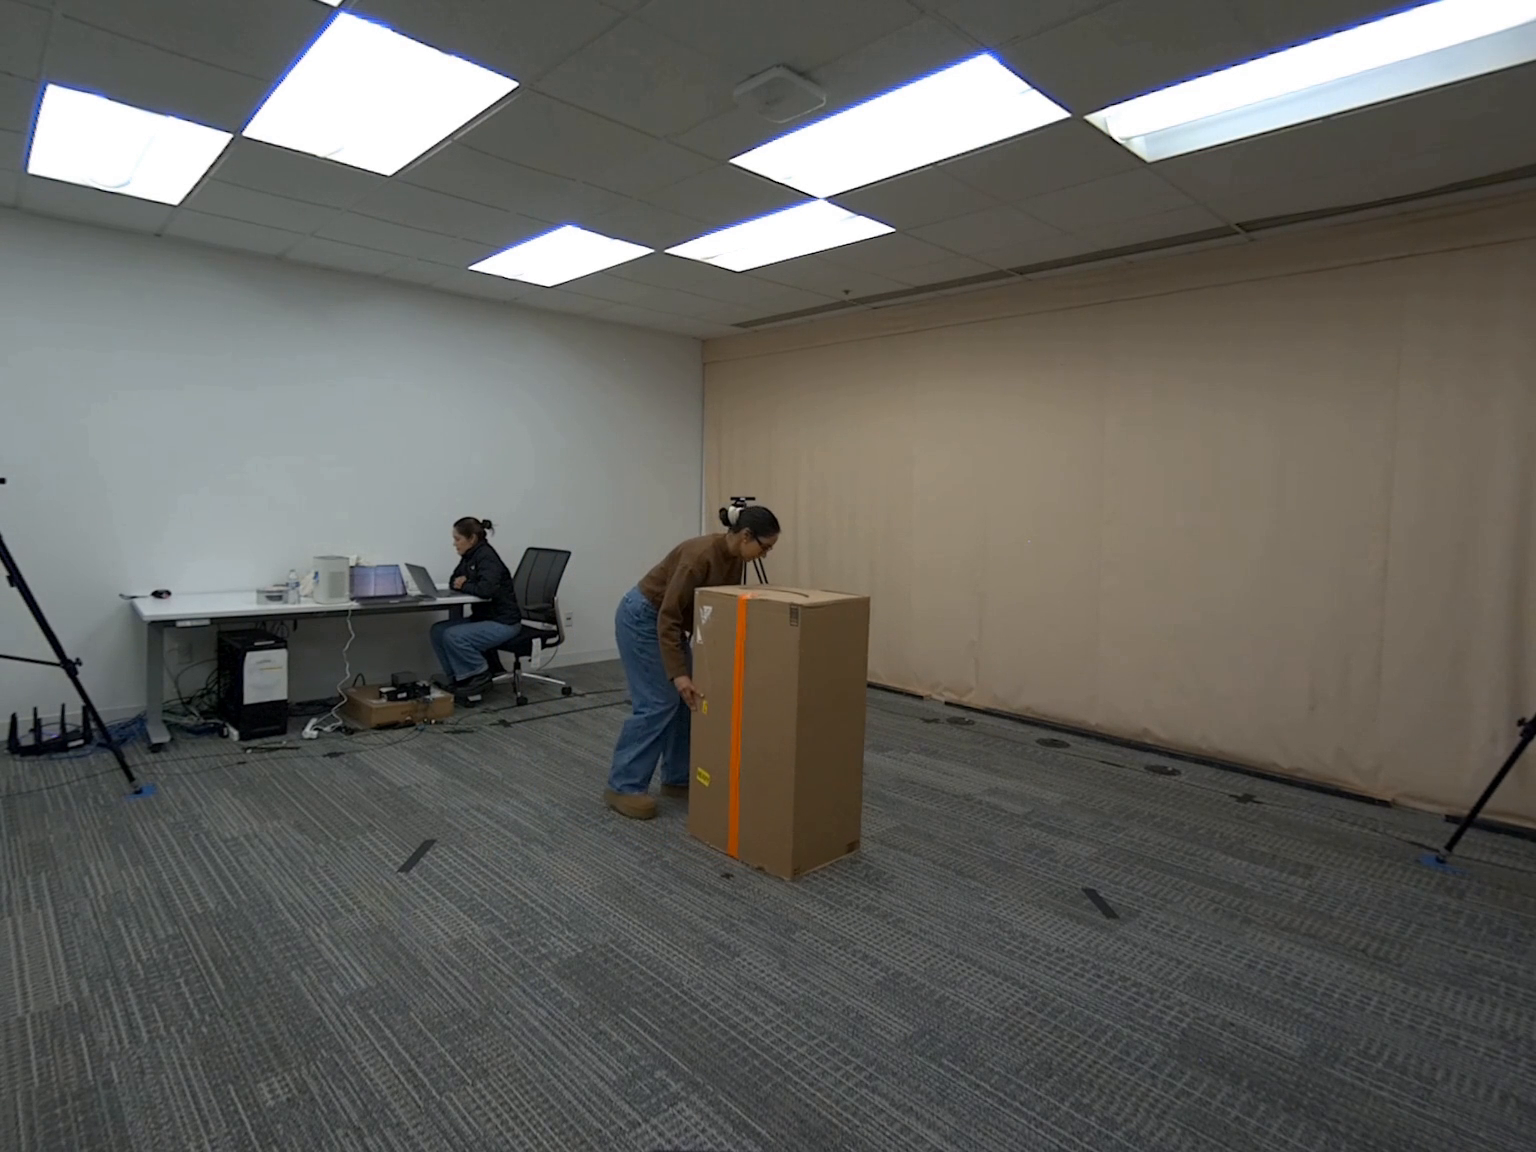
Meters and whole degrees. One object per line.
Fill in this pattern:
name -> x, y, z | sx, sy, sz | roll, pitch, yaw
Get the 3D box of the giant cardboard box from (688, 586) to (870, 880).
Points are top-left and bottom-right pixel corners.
giant cardboard box -> 0.030, 0.579, 3.379 | 0.416, 1.023, 0.592 | -2, 5, -45
